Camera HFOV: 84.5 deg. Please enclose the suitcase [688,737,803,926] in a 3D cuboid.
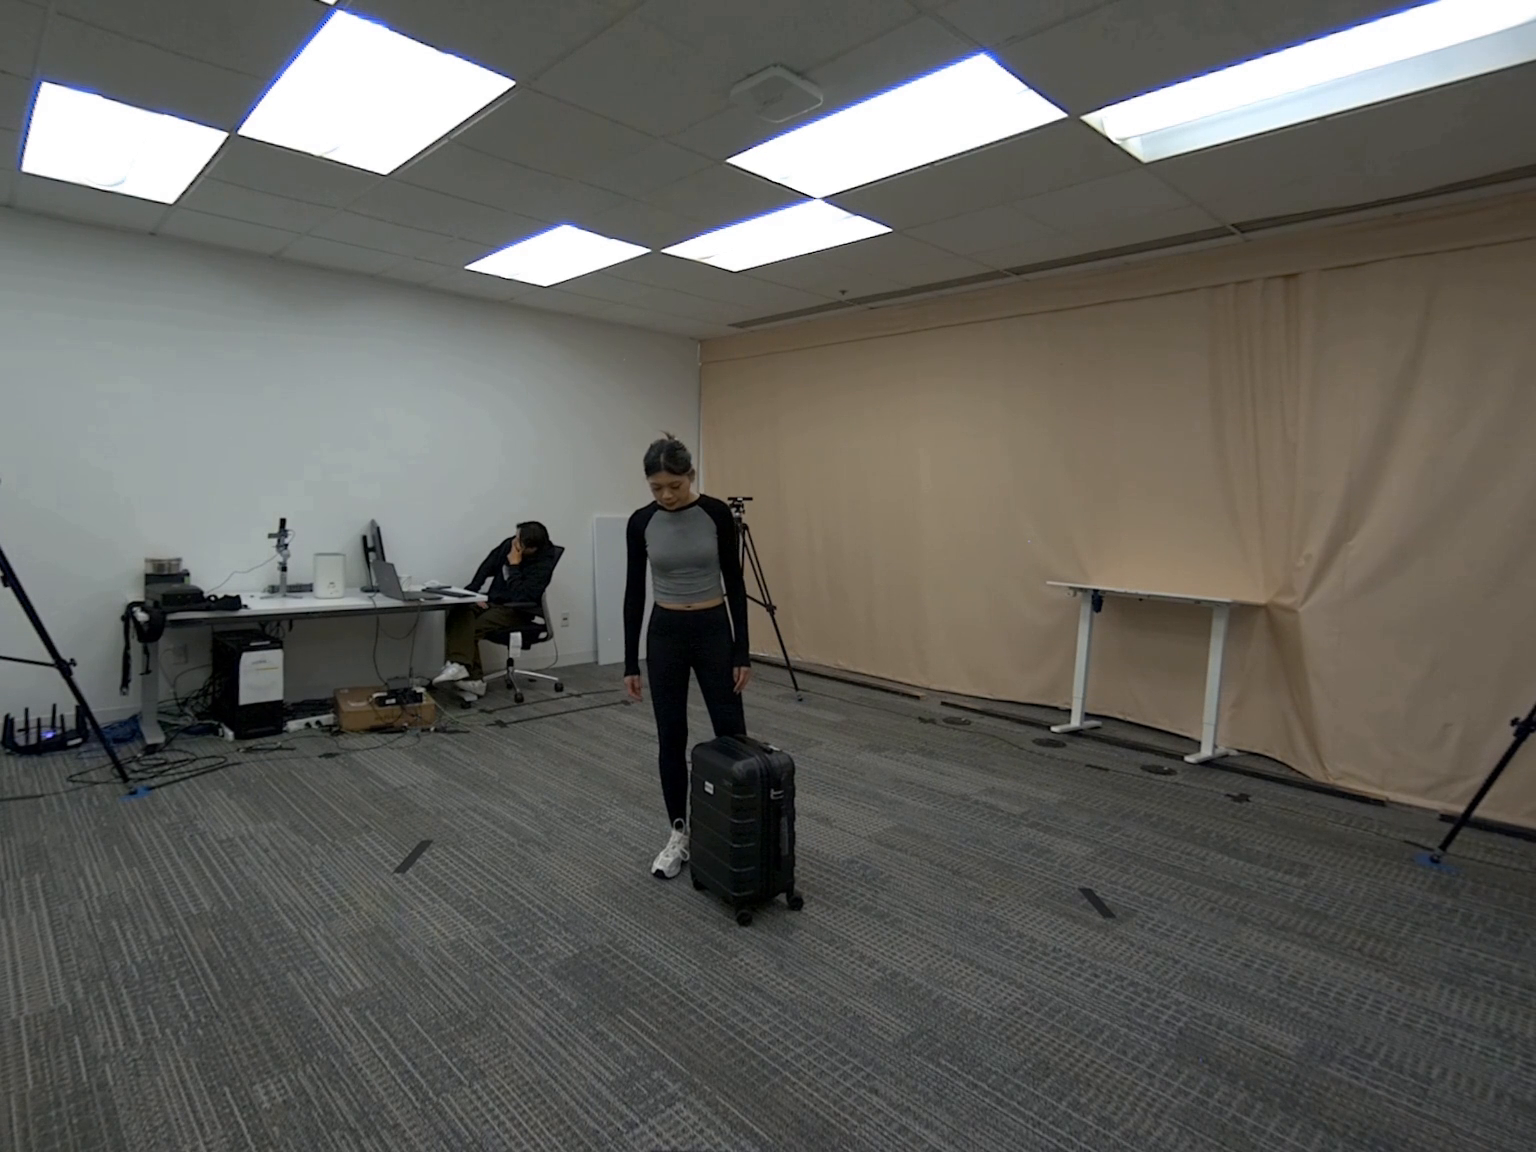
[{"bbox_3d":[-0.095,0.851,2.910,0.243,0.548,0.384,-3,5,-34],"label":"suitcase"}]
